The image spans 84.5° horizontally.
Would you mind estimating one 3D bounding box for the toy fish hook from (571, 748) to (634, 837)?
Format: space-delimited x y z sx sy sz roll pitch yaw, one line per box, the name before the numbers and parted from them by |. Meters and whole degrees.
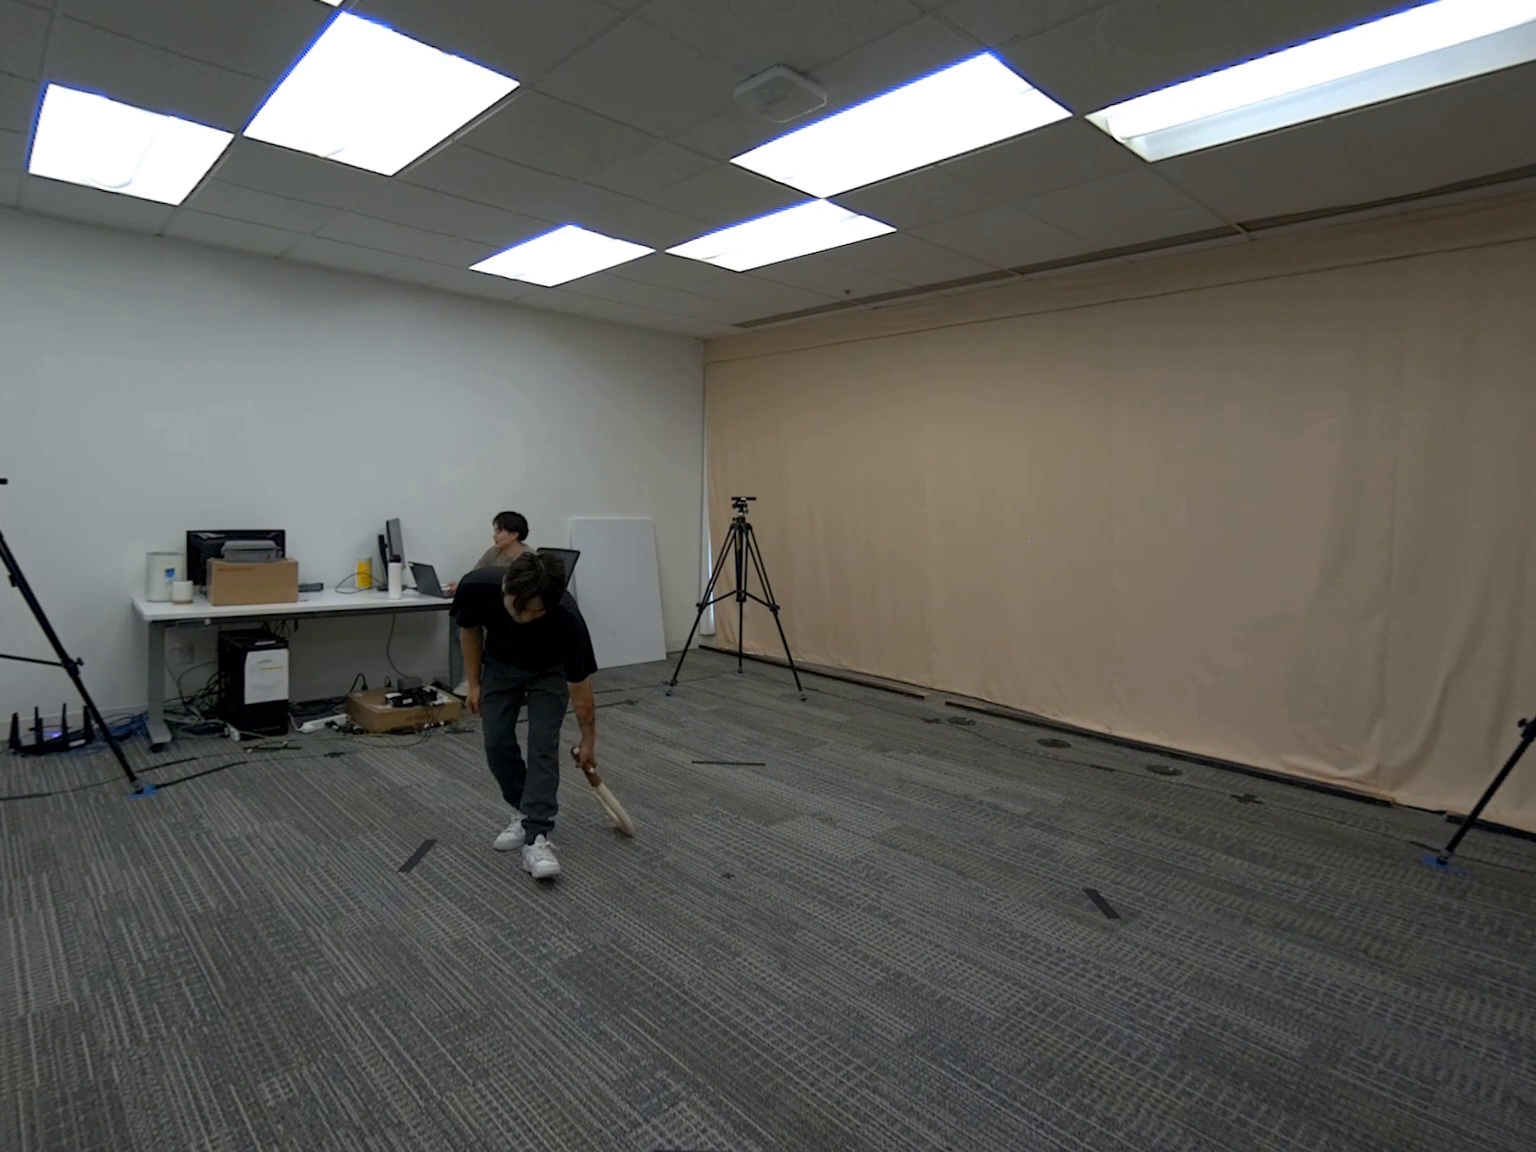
toy fish hook | -0.697 0.864 3.402 0.230 0.495 0.048 6 39 48
